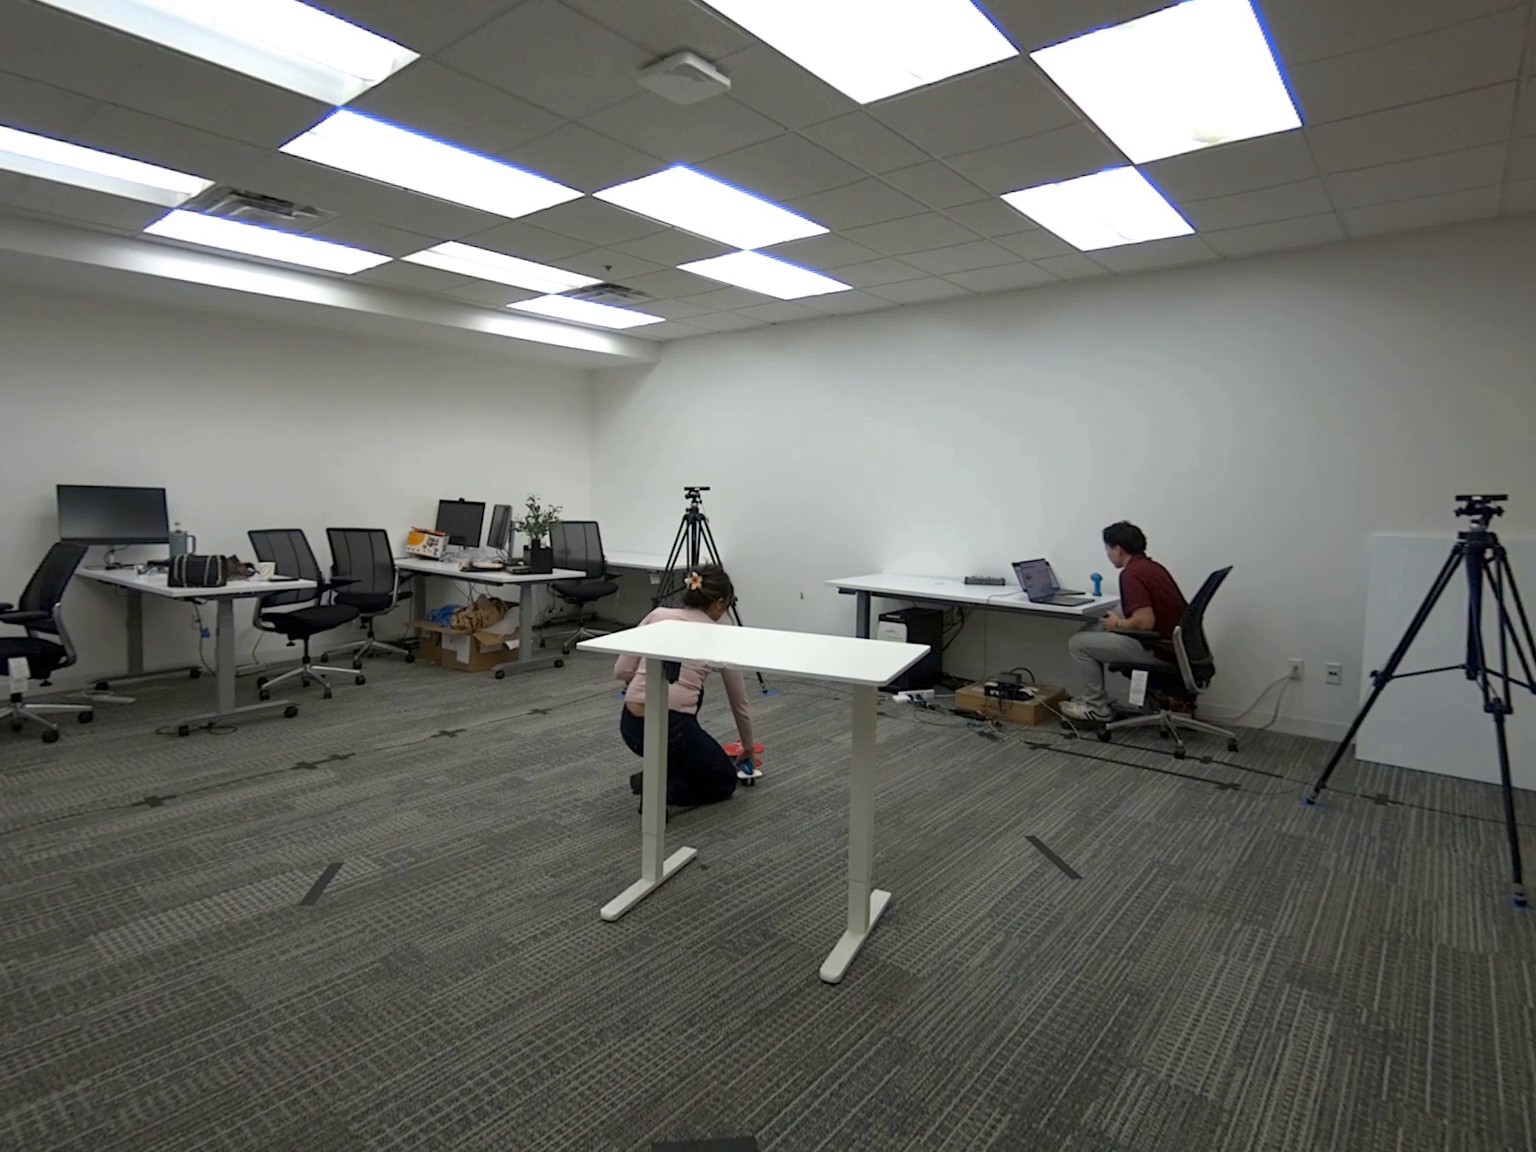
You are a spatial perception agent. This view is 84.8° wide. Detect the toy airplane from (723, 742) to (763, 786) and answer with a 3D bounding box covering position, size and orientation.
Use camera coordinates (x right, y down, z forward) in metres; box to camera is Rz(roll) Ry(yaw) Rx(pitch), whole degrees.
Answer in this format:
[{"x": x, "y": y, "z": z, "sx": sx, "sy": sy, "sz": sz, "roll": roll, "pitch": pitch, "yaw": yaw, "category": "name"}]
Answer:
[{"x": -0.131, "y": 0.902, "z": 4.089, "sx": 0.268, "sy": 0.156, "sz": 0.244, "roll": 4, "pitch": 6, "yaw": 39, "category": "toy airplane"}]
